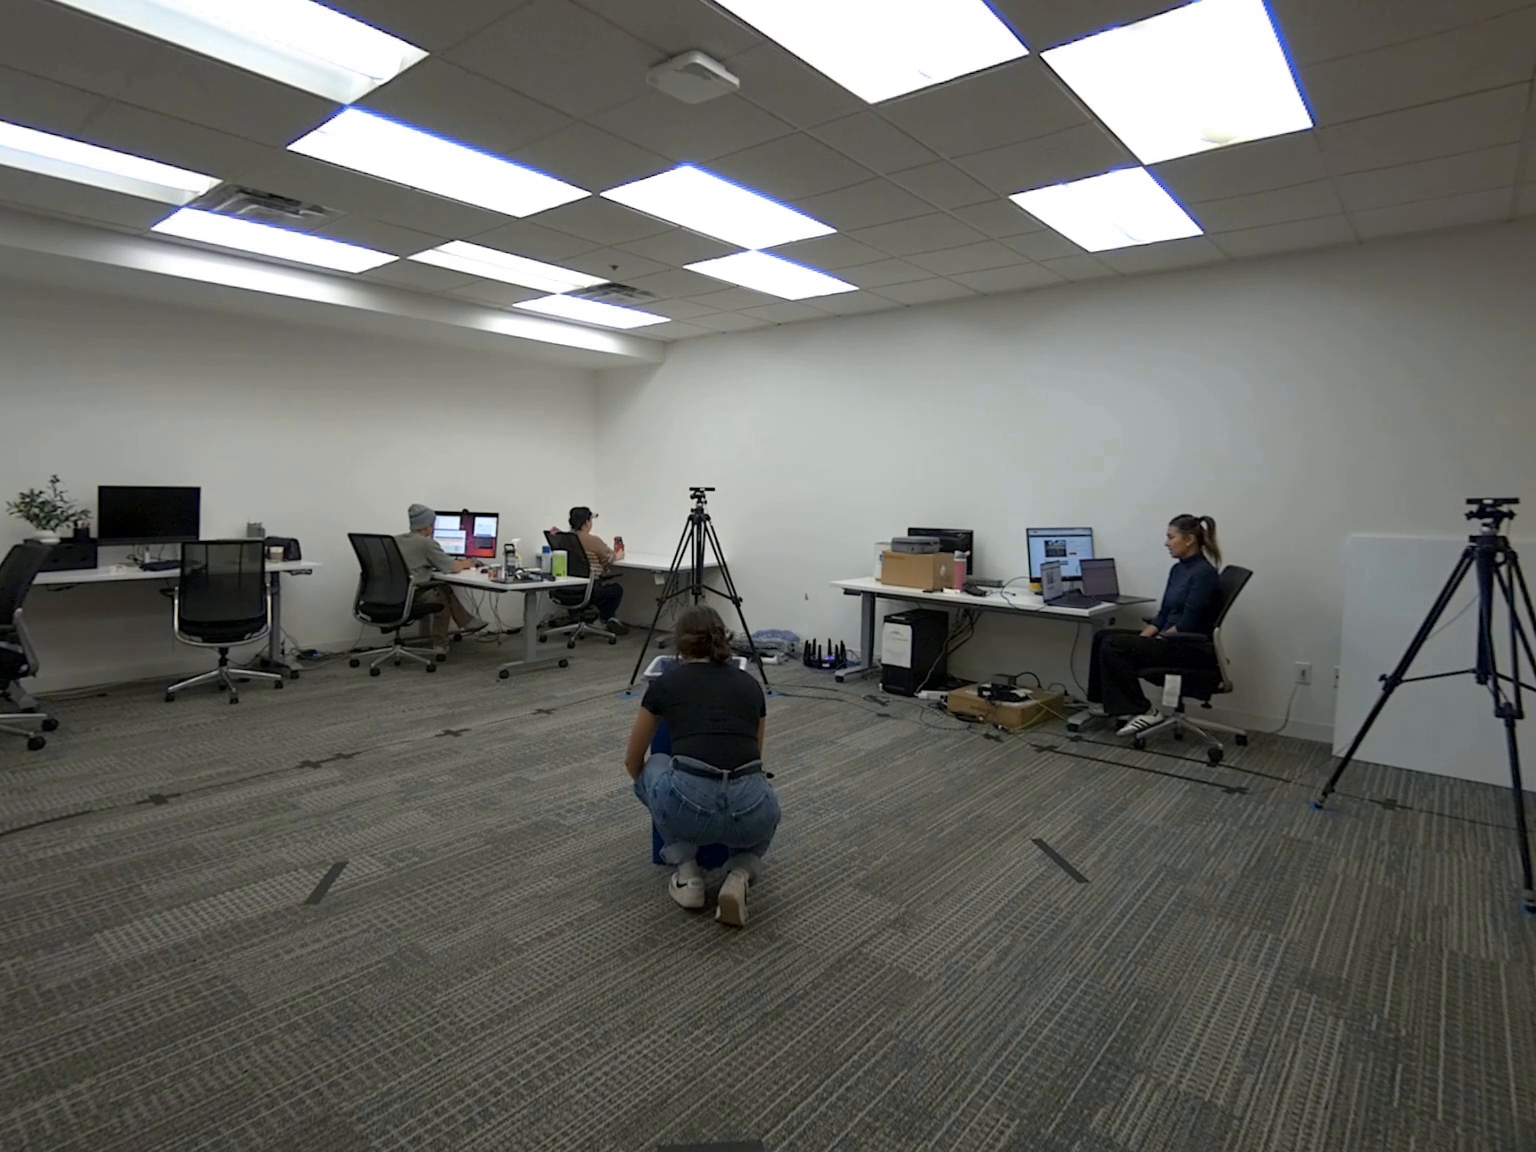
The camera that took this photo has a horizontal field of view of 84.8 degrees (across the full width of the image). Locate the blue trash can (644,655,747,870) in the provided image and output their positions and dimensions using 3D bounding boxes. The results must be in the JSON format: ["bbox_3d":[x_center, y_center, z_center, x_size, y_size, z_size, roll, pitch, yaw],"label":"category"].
[{"bbox_3d":[-0.285,0.686,3.252,0.375,0.712,0.378,1,3,2],"label":"blue trash can"}]
